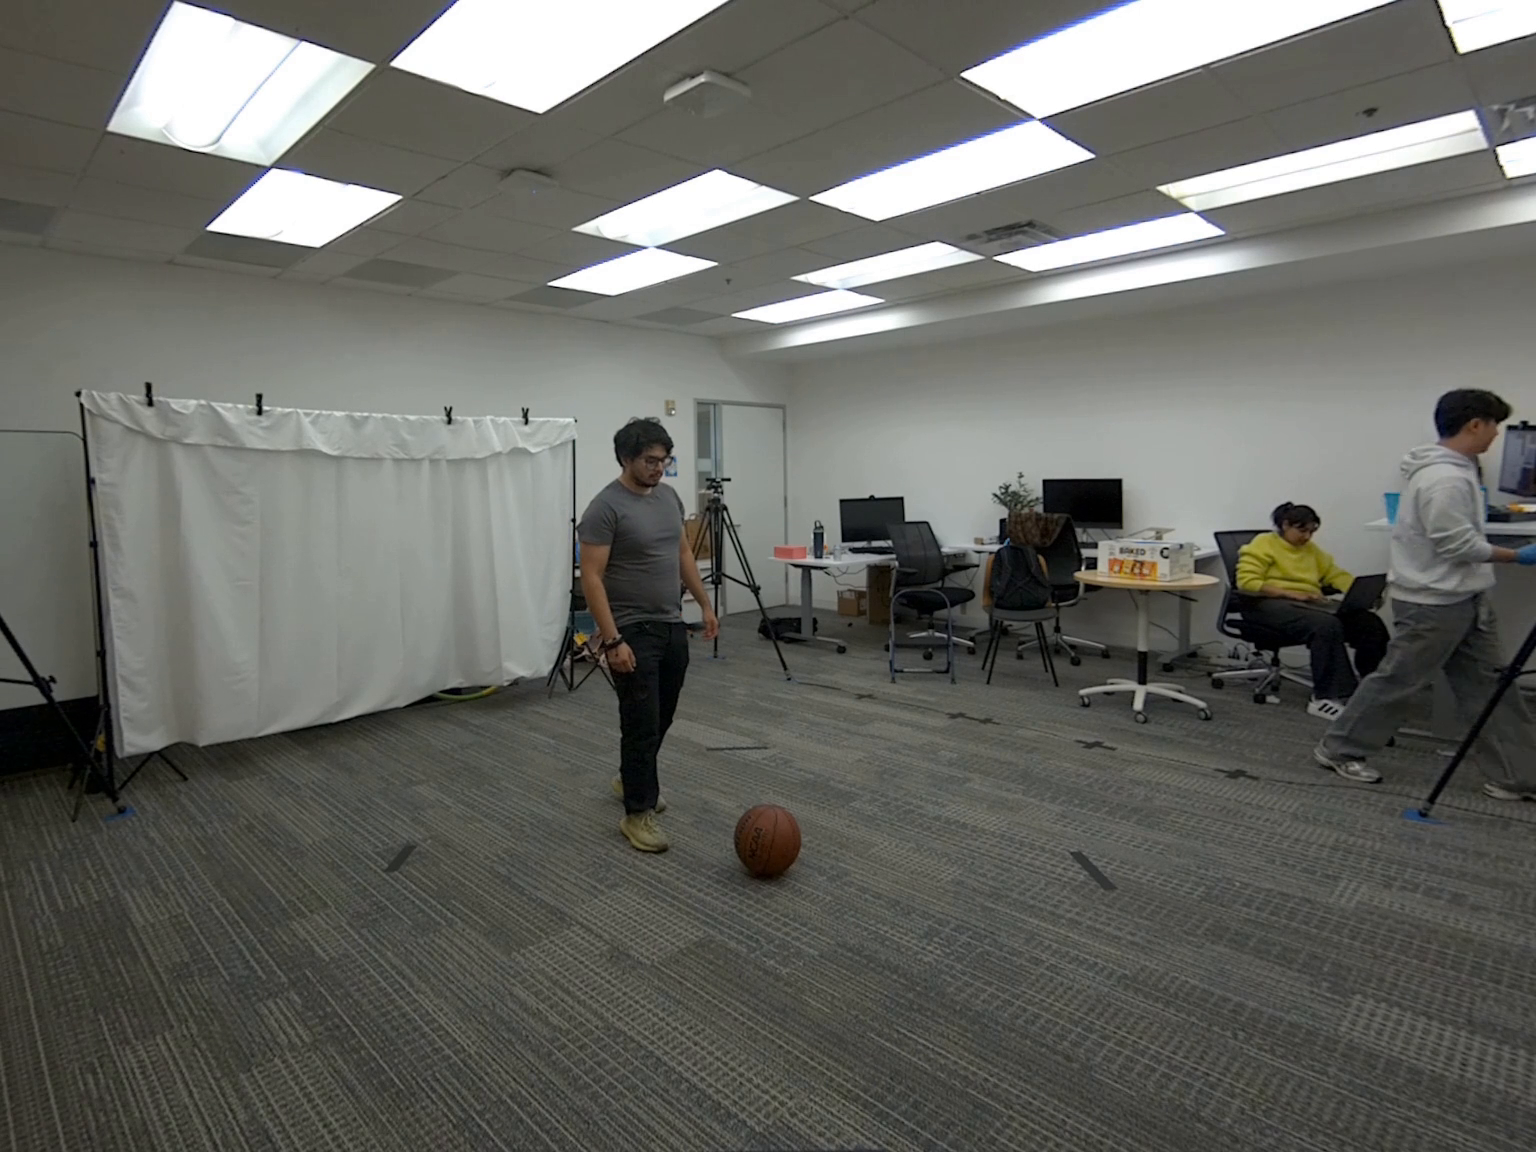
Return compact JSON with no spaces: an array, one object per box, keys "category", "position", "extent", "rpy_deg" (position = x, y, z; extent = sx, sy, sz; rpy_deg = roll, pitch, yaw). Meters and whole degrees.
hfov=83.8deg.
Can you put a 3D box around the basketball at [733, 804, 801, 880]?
[{"category":"basketball","position":[-0.002,0.926,3.022],"extent":[0.236,0.235,0.237],"rpy_deg":[-1,5,-2]}]
